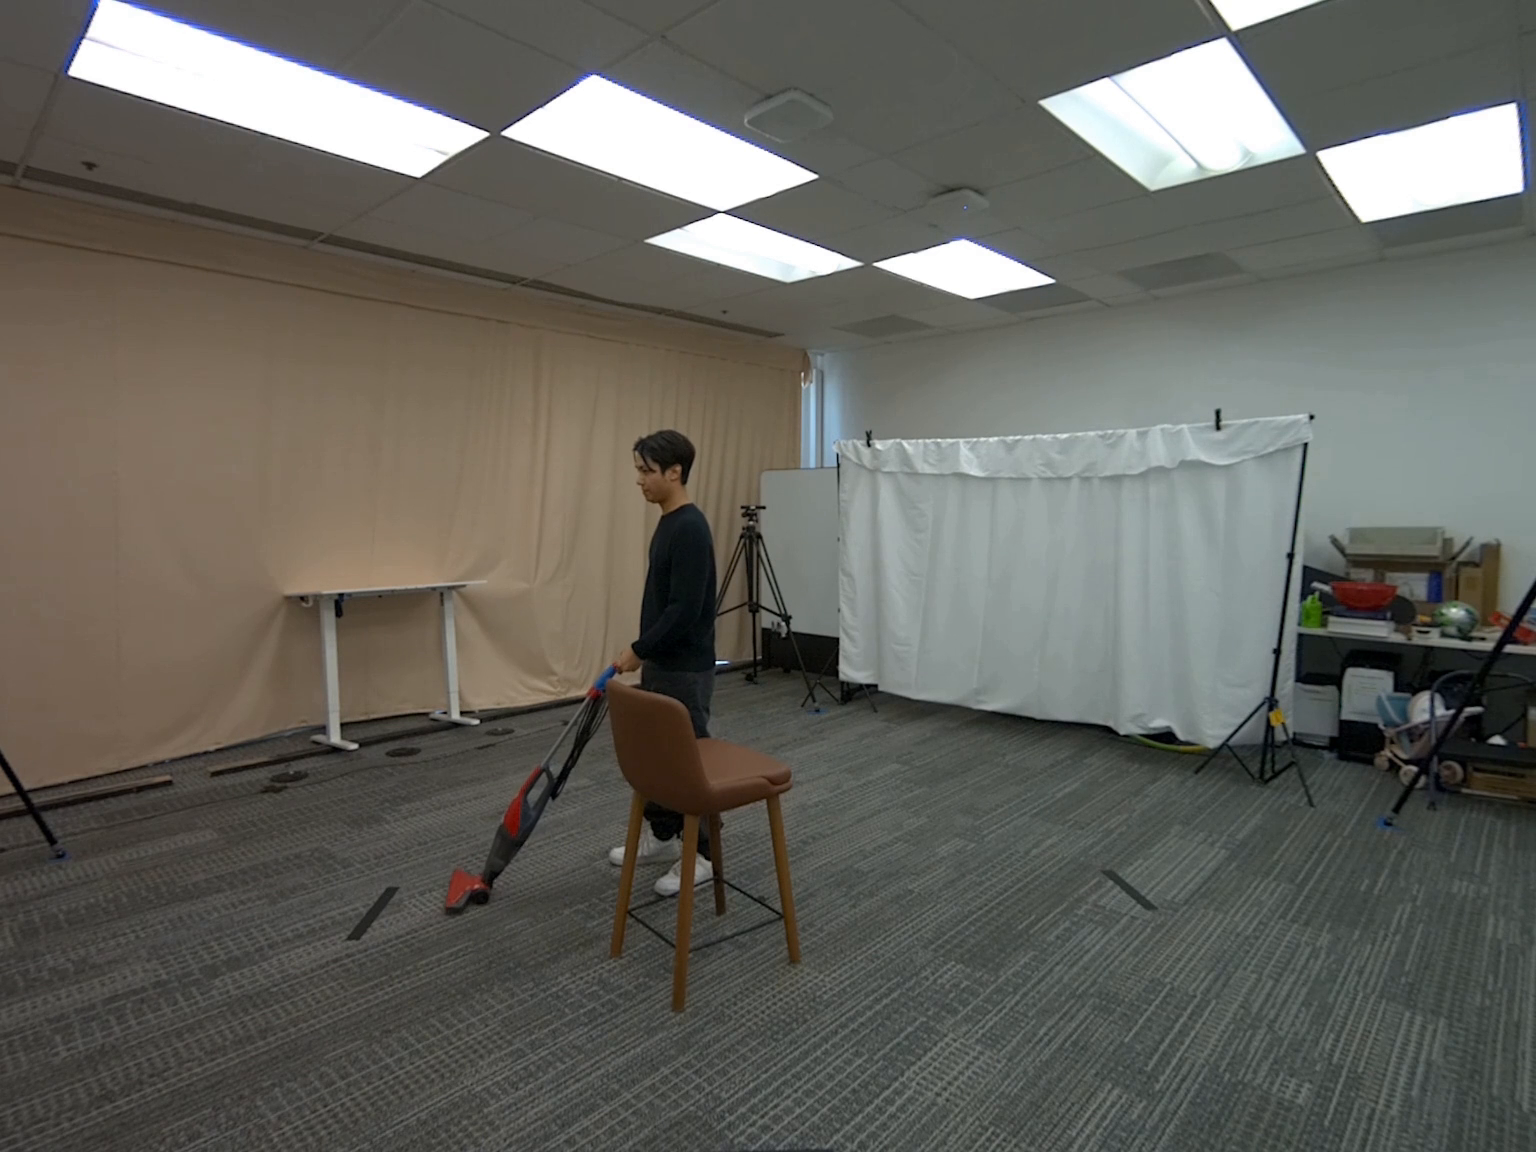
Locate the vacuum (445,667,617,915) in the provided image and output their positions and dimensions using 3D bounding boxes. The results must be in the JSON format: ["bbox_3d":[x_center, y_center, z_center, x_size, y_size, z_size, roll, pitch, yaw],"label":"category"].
[{"bbox_3d":[-0.780,0.712,3.000,0.141,1.049,0.257,35,0,-17],"label":"vacuum"}]
